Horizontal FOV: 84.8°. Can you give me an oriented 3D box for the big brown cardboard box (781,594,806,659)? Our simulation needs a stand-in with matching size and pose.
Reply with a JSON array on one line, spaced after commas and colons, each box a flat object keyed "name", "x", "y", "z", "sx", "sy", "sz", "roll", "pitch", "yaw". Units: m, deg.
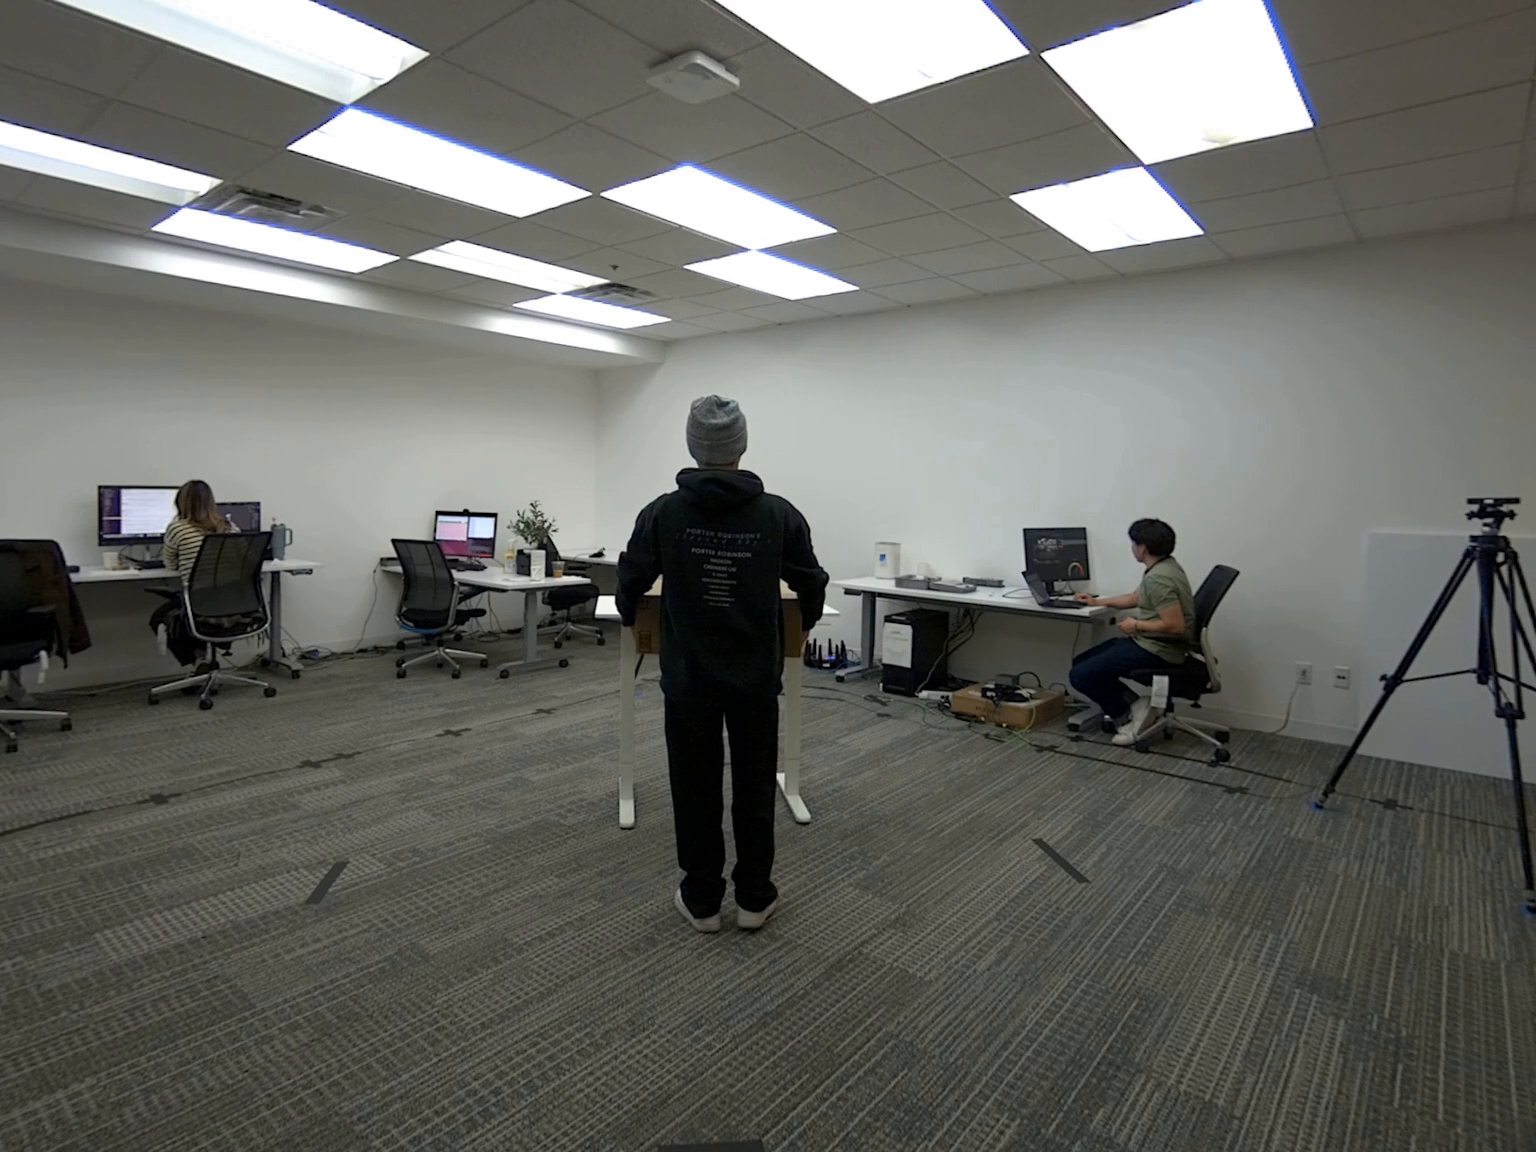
[{"name": "big brown cardboard box", "x": -0.156, "y": 0.110, "z": 3.063, "sx": 0.588, "sy": 0.230, "sz": 0.423, "roll": 0, "pitch": 14, "yaw": -2}]
